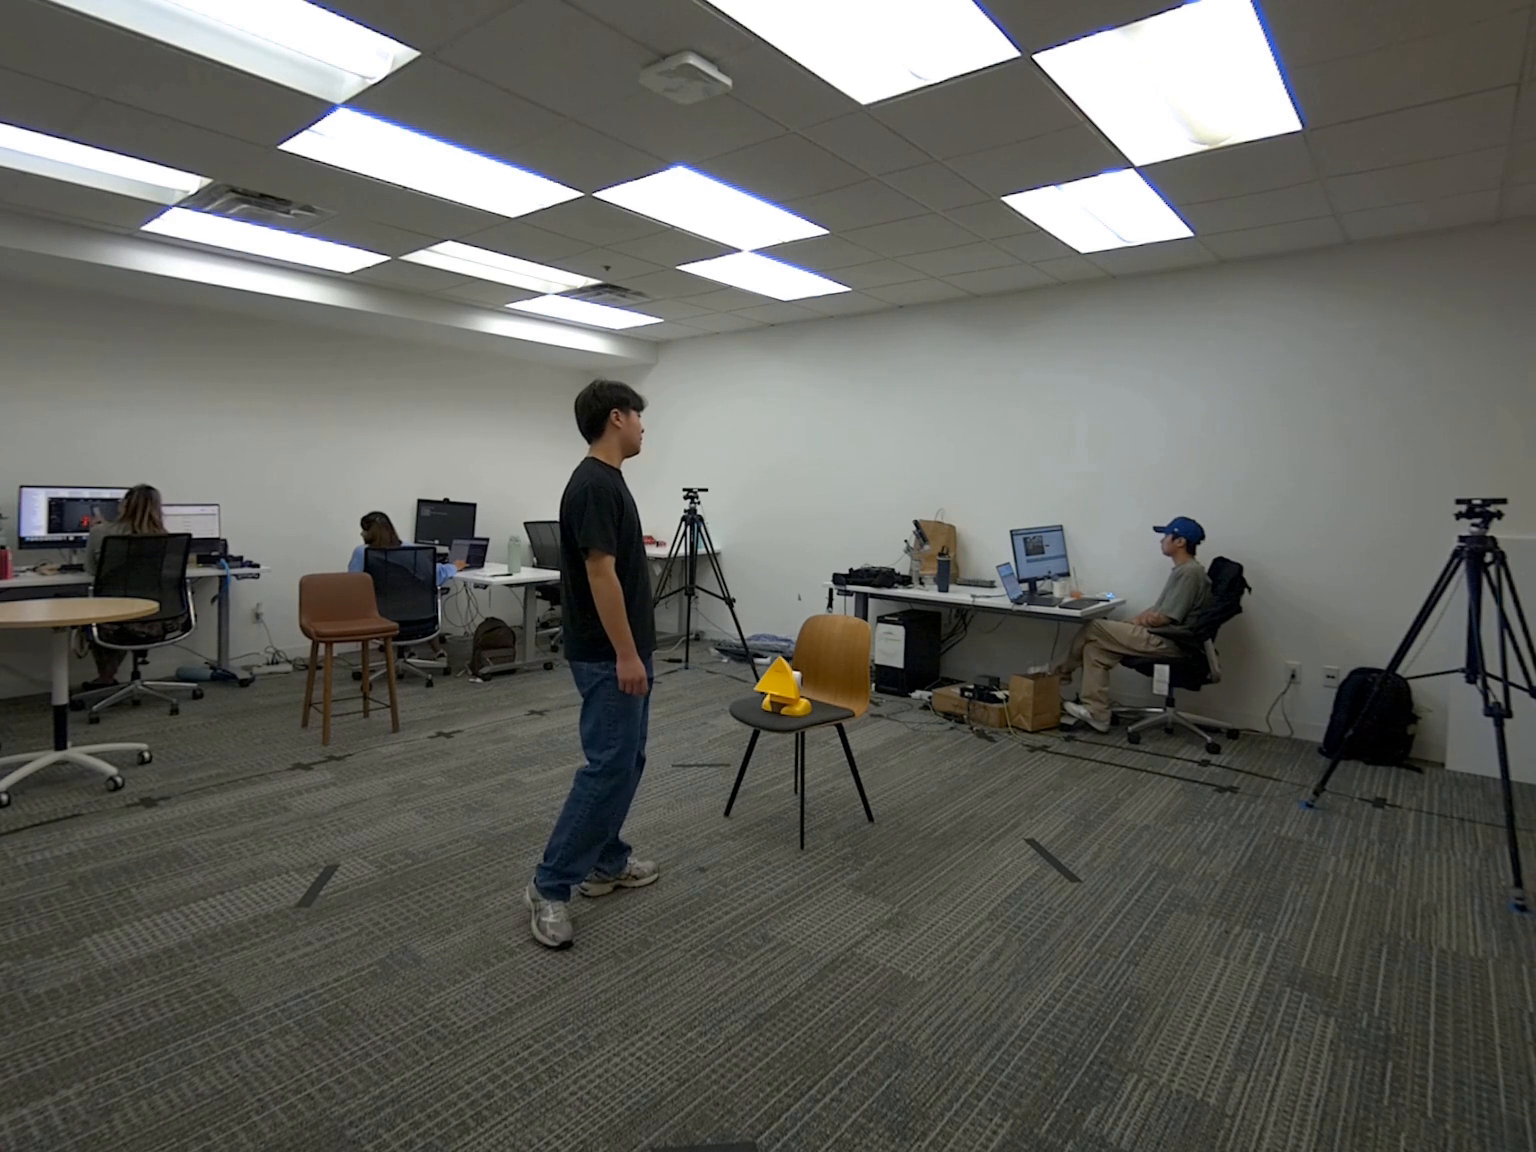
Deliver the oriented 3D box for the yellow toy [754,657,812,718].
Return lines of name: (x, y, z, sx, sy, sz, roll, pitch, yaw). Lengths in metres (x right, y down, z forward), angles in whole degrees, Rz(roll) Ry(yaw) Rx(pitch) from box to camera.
yellow toy: (0.072, 0.438, 3.529, 0.211, 0.230, 0.187, 5, 3, 38)
